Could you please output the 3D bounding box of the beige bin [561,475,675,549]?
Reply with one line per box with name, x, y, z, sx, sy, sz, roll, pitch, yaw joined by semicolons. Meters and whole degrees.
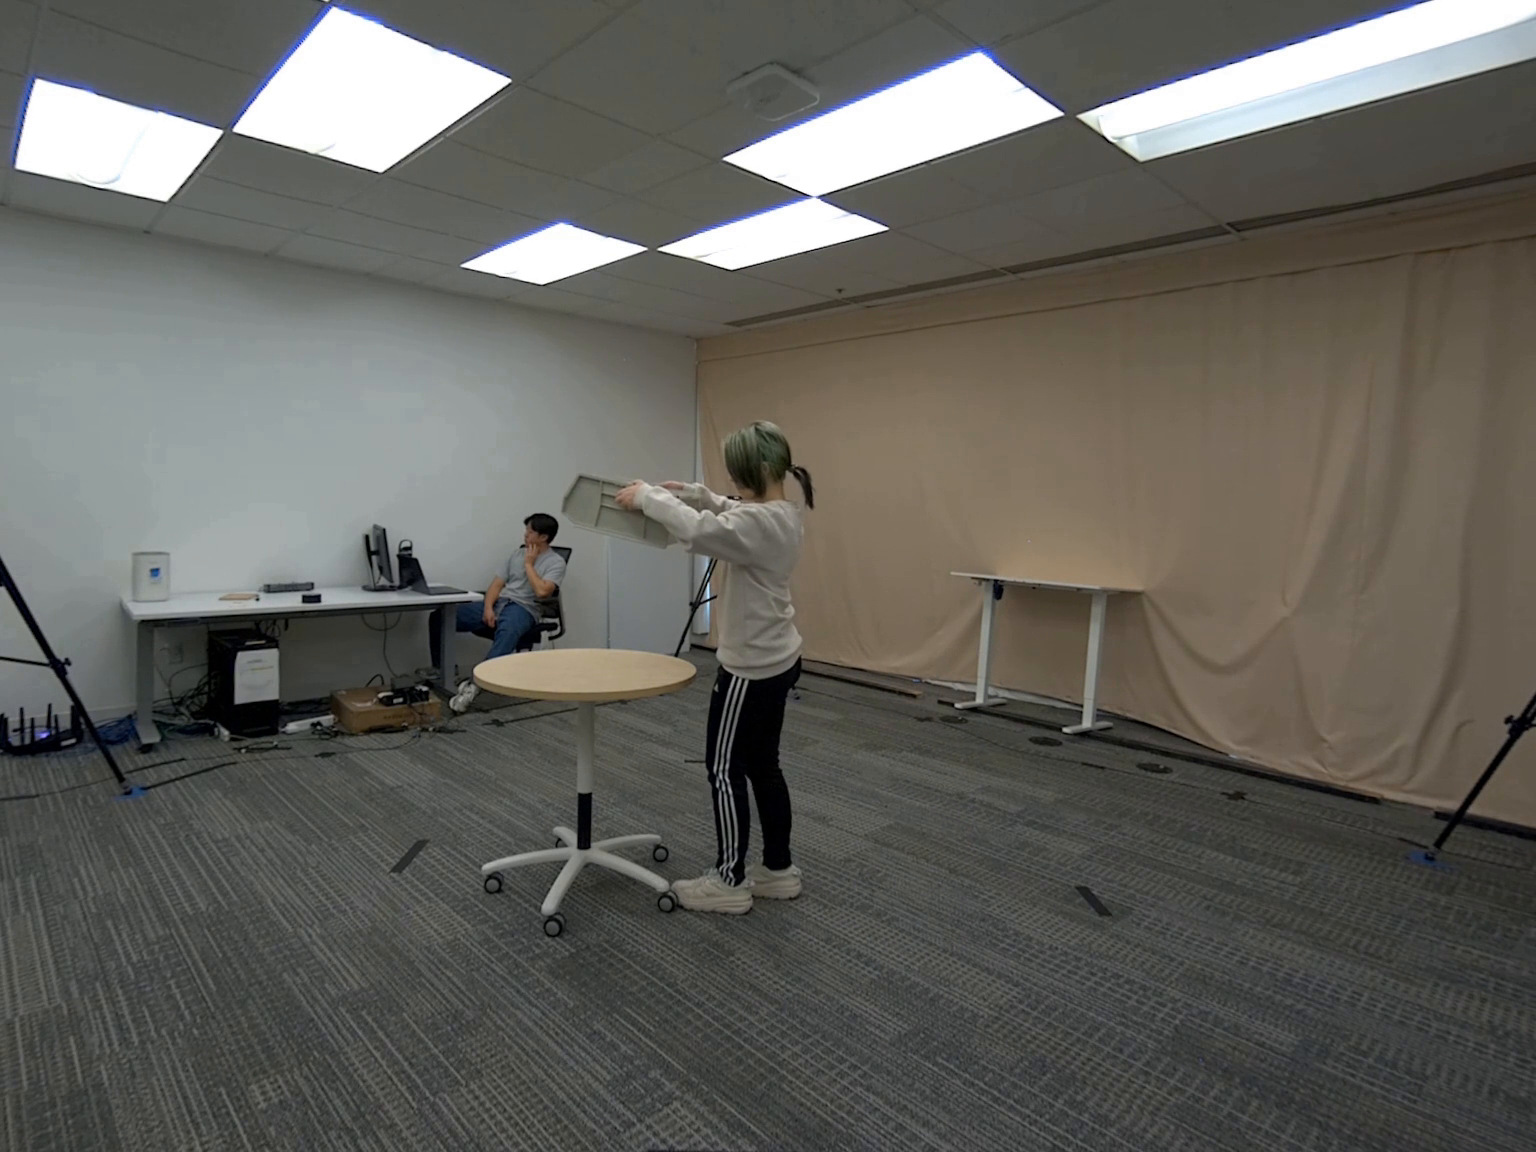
beige bin;-0.460;-0.227;2.908;0.380;0.188;0.421;15;7;6
